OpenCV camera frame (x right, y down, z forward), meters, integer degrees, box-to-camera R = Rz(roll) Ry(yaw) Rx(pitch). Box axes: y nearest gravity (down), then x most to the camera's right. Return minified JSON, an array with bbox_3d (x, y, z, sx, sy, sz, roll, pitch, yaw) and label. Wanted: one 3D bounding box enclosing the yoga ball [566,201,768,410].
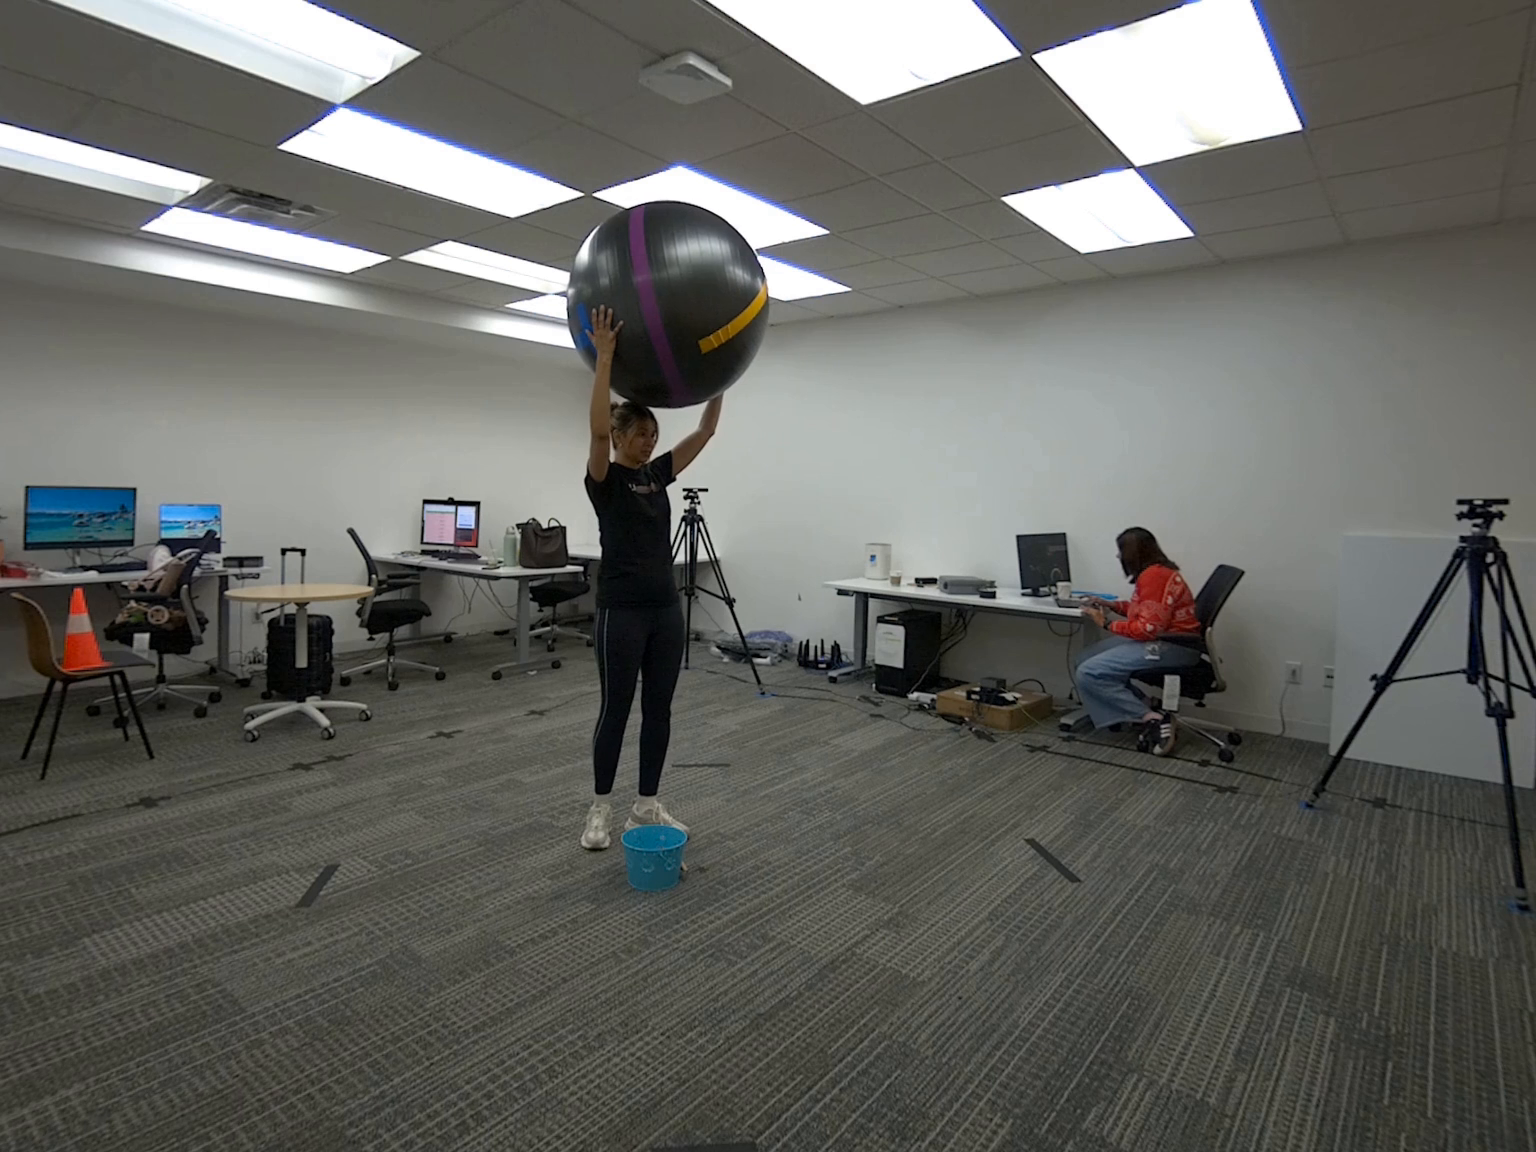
[{"bbox_3d":[-0.387,-1.008,3.192,0.757,0.755,0.762,1,4,-2],"label":"yoga ball"}]
